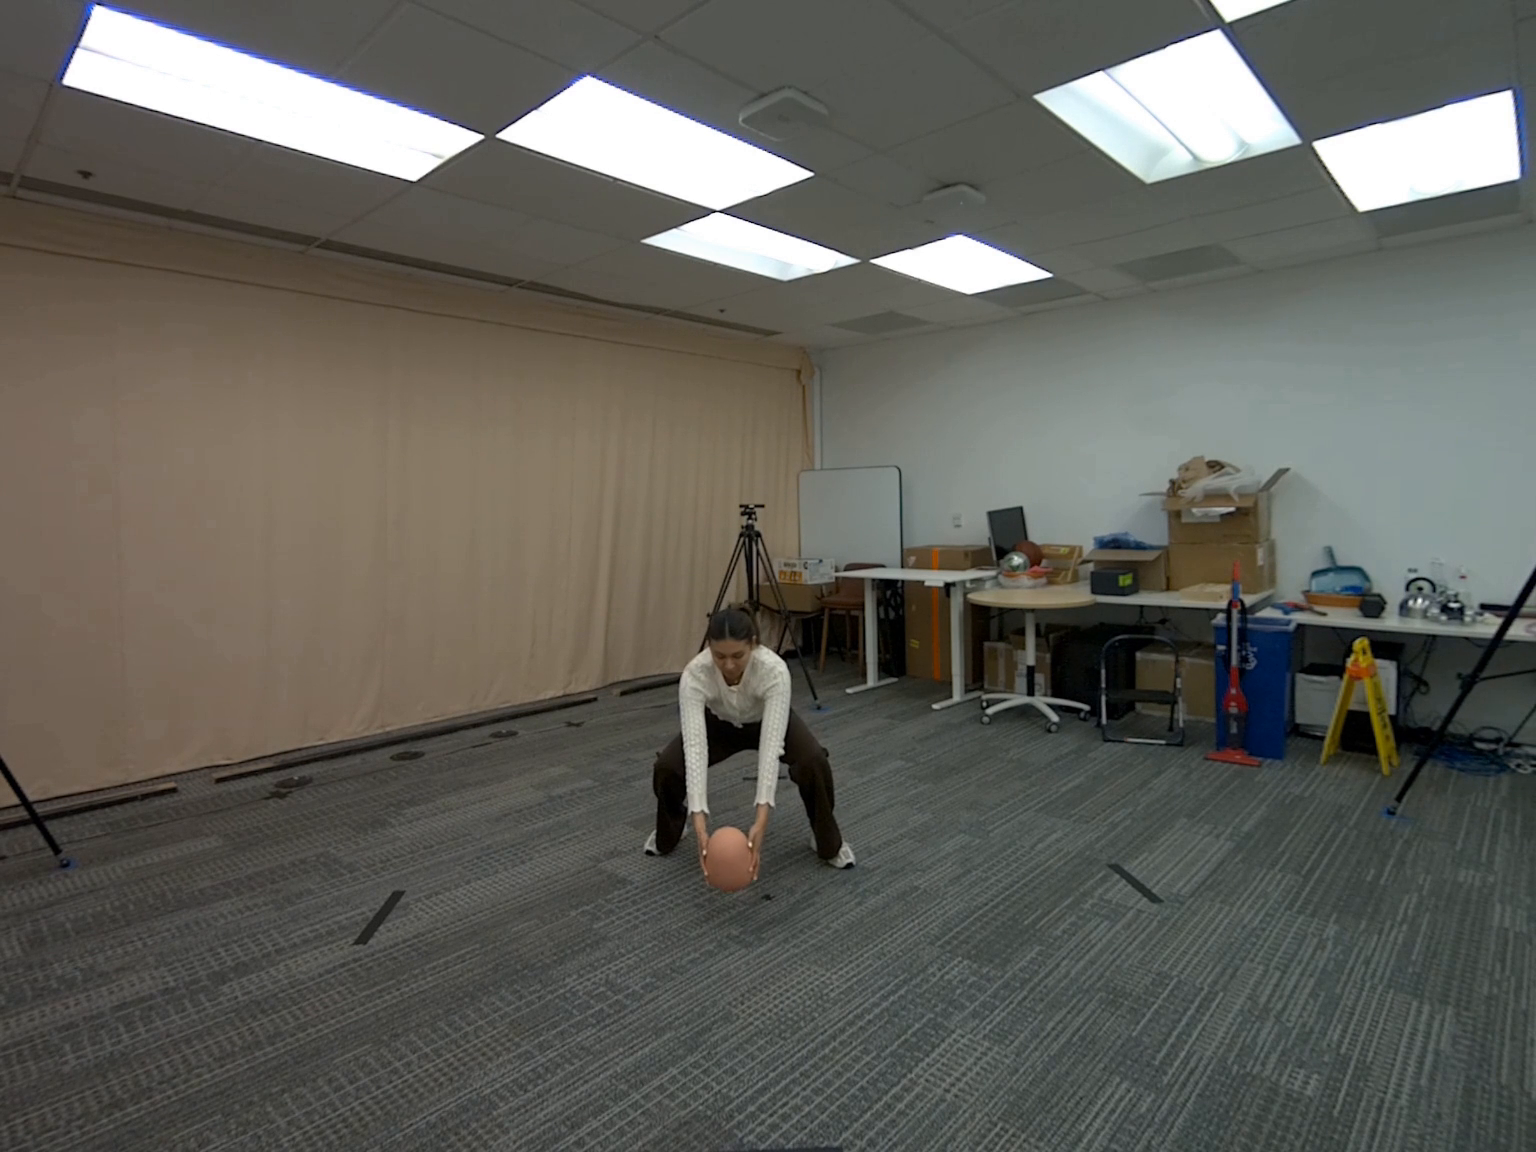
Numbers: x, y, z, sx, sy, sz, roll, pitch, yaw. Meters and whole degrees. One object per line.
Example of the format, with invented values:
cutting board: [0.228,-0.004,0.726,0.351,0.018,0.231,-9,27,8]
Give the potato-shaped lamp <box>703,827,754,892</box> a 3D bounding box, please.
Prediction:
potato-shaped lamp: [-0.126,0.908,2.768,0.167,0.197,0.170,7,7,9]
